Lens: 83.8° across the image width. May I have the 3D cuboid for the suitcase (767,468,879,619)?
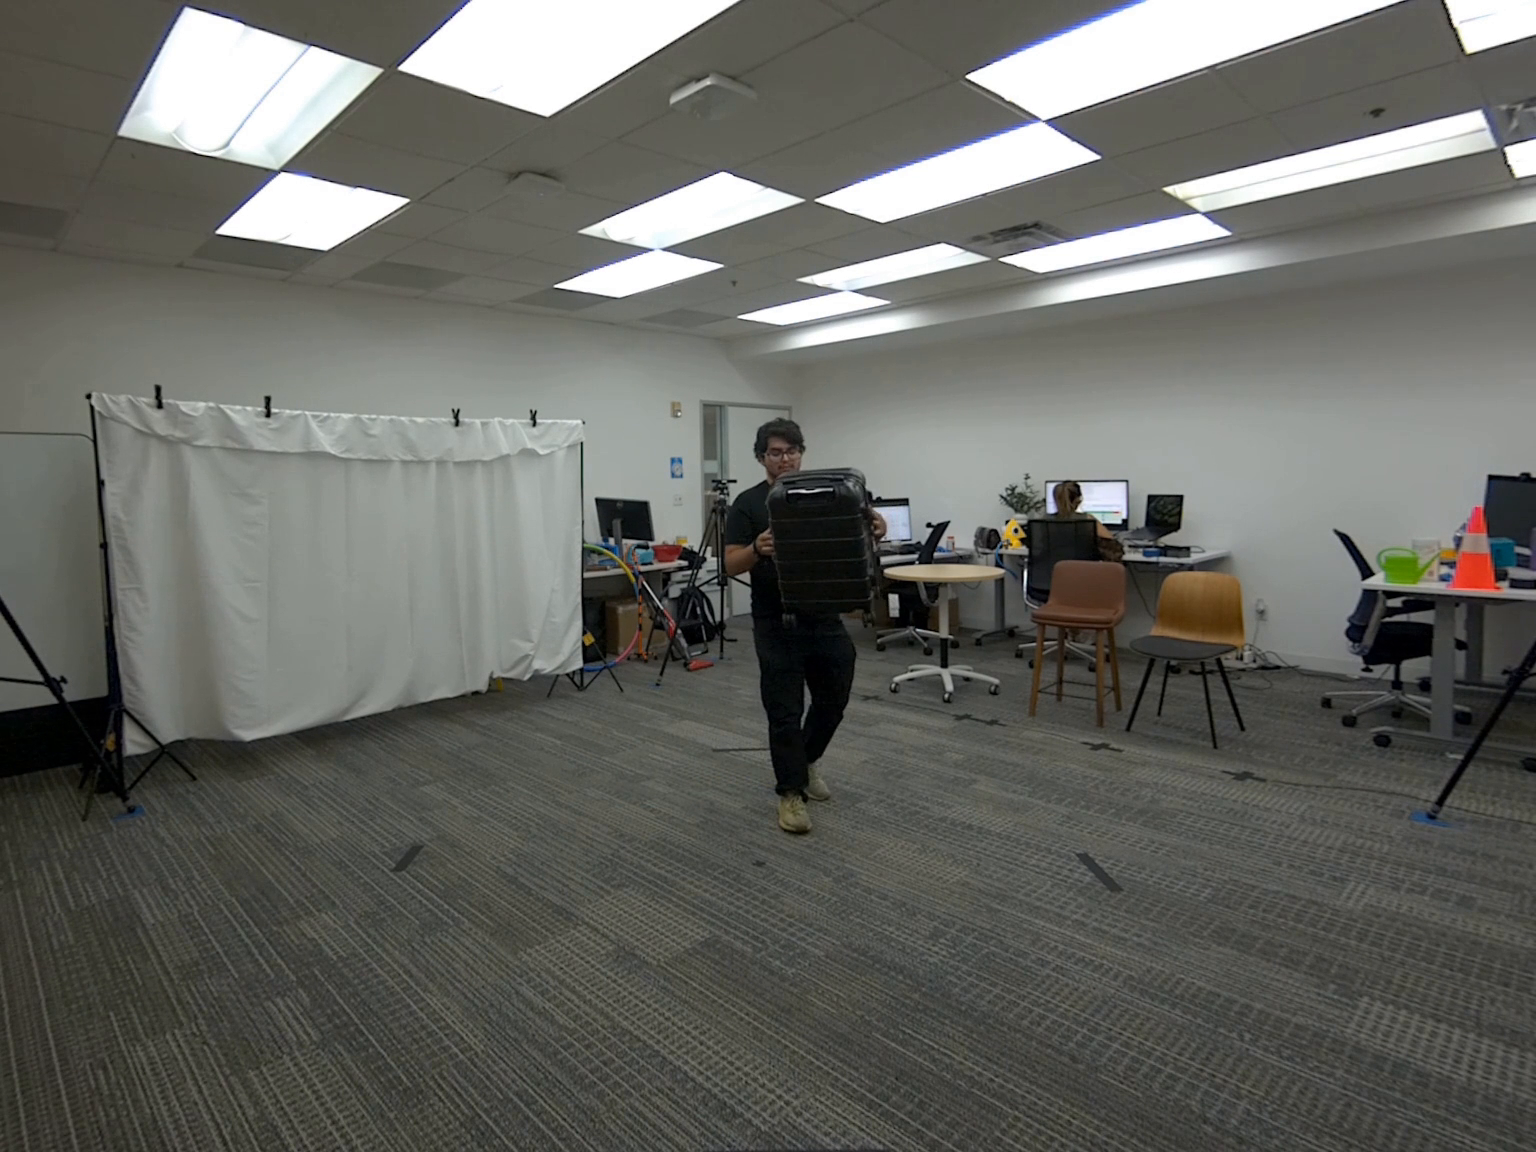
[{"bbox_3d":[0.203,-0.117,3.128,0.382,0.538,0.249,-3,22,18],"label":"suitcase"}]
